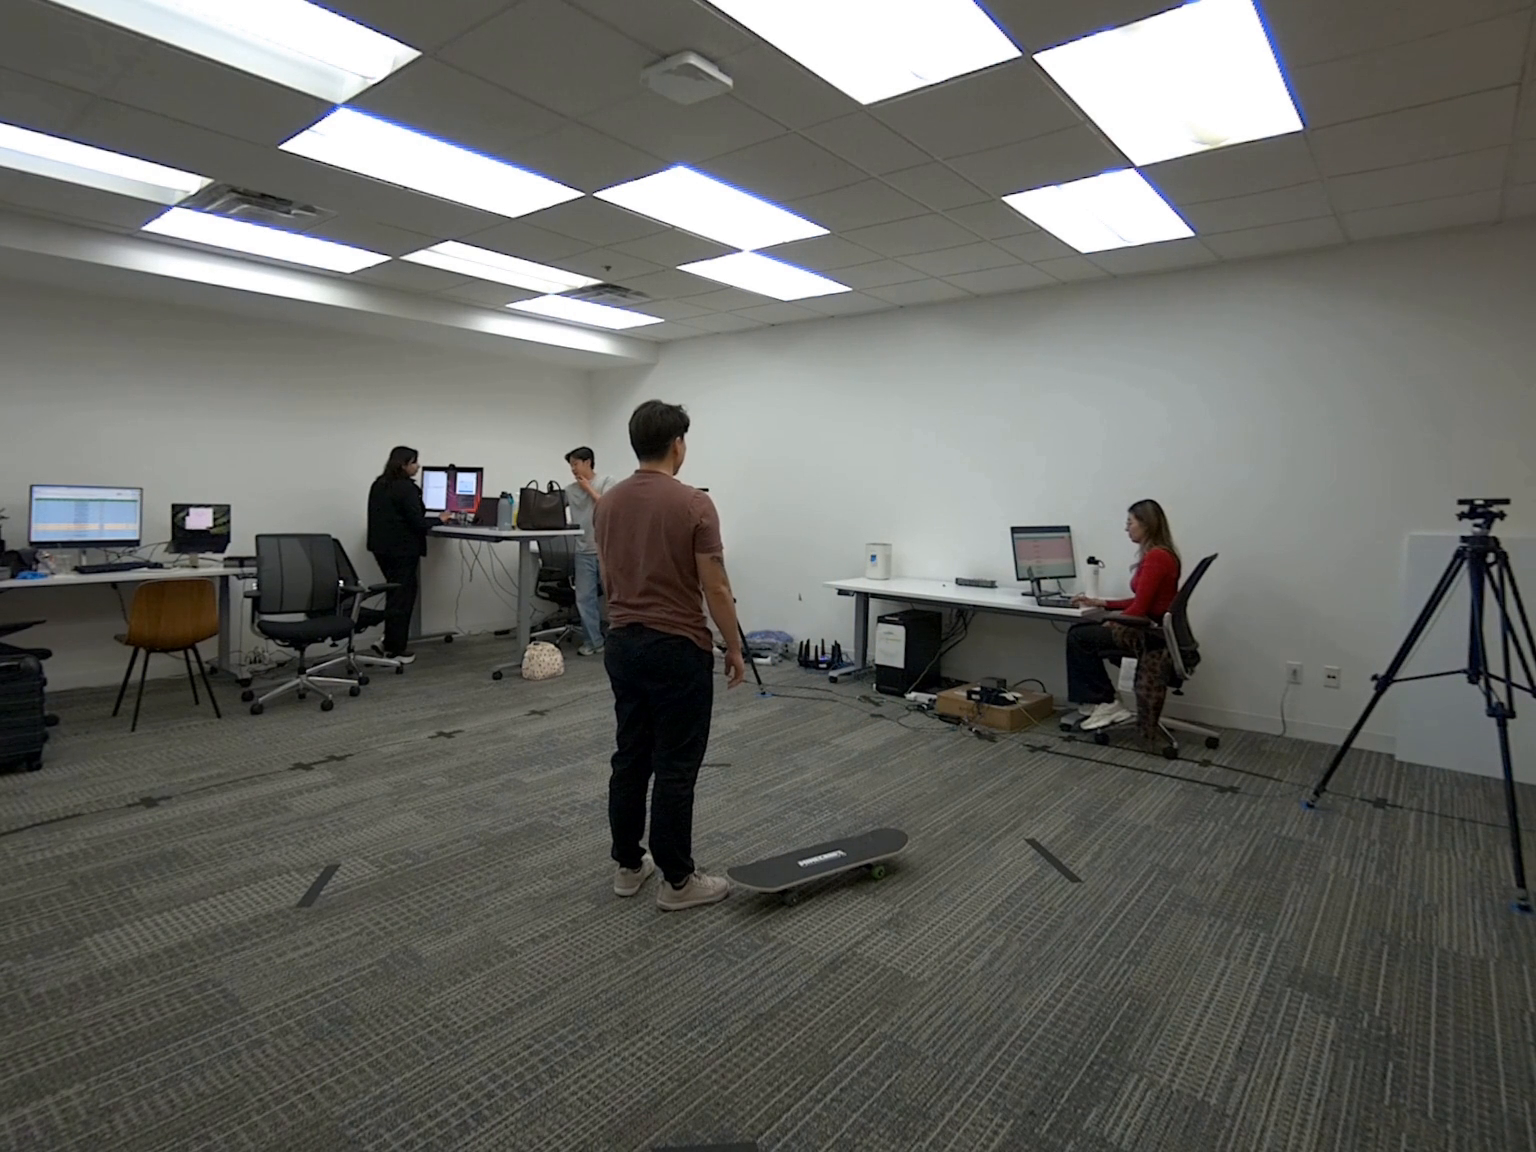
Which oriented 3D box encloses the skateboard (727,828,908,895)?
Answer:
[{"bbox_3d":[0.187,1.037,3.016,0.763,0.110,0.200,-3,8,-34],"label":"skateboard"}]
